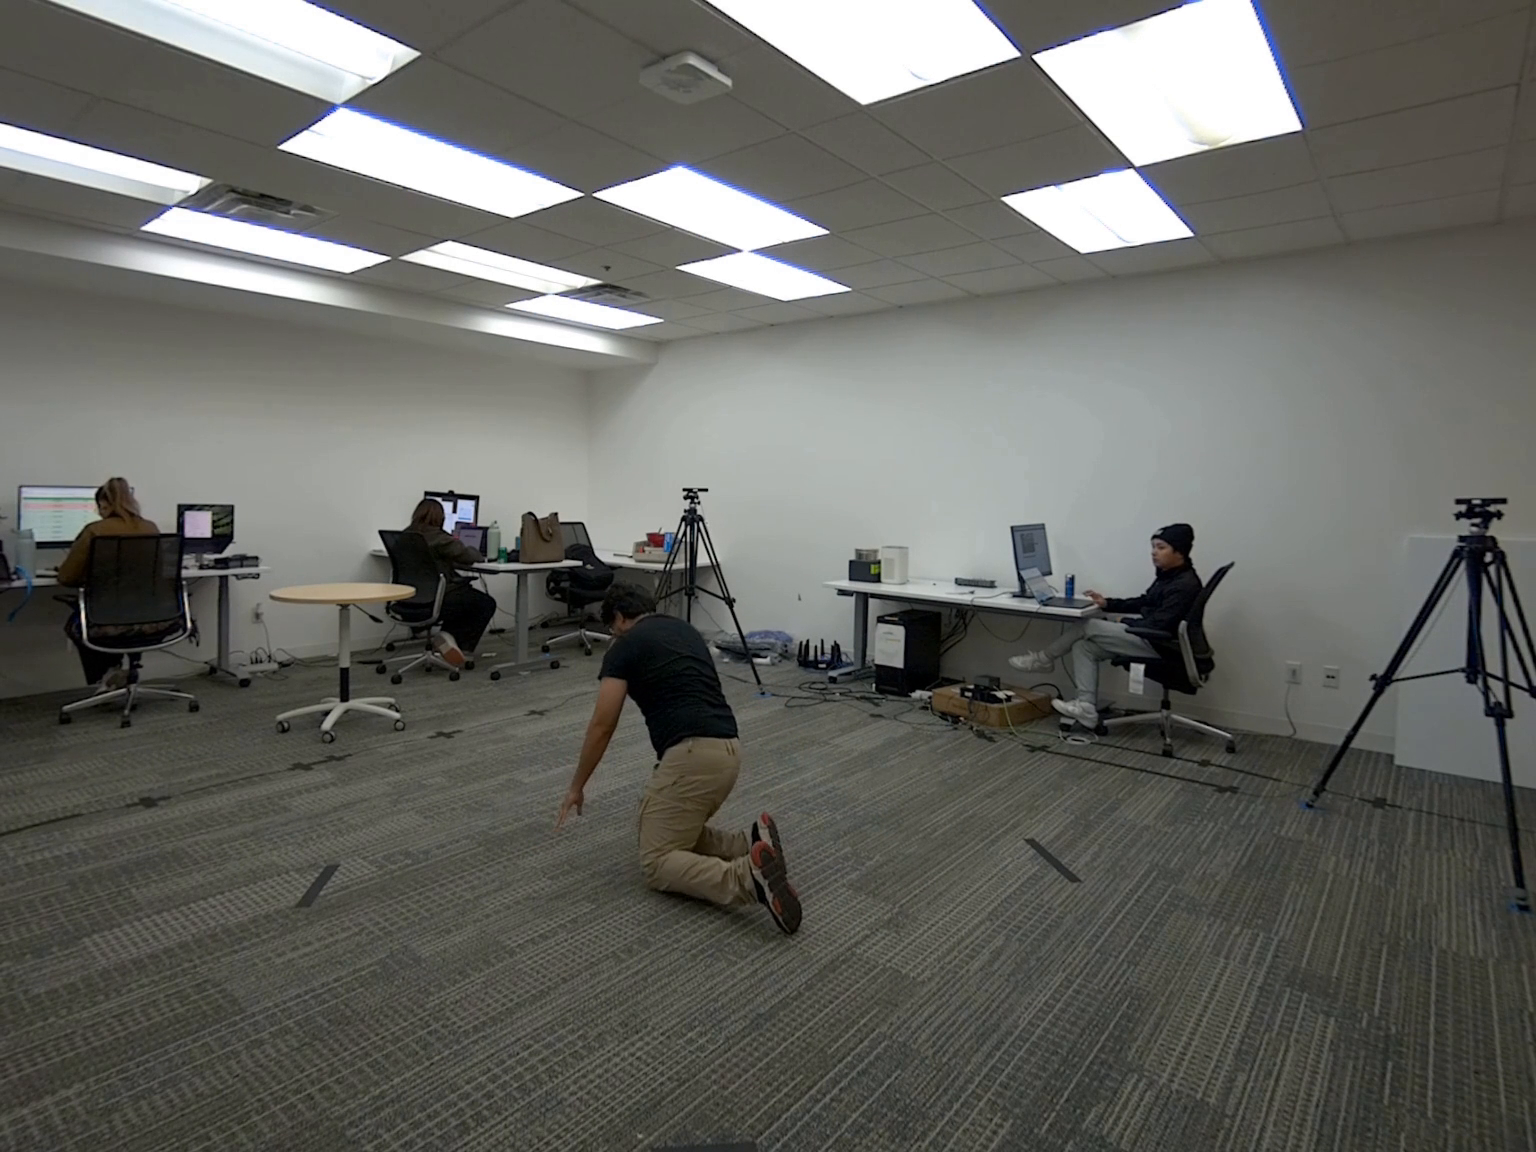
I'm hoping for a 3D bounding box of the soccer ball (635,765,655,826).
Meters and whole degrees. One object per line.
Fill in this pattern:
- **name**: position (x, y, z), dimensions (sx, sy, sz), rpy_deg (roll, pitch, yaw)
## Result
- **soccer ball**: position (-0.458, 0.921, 3.544), dimensions (0.187, 0.187, 0.188), rpy_deg (1, 4, -2)
